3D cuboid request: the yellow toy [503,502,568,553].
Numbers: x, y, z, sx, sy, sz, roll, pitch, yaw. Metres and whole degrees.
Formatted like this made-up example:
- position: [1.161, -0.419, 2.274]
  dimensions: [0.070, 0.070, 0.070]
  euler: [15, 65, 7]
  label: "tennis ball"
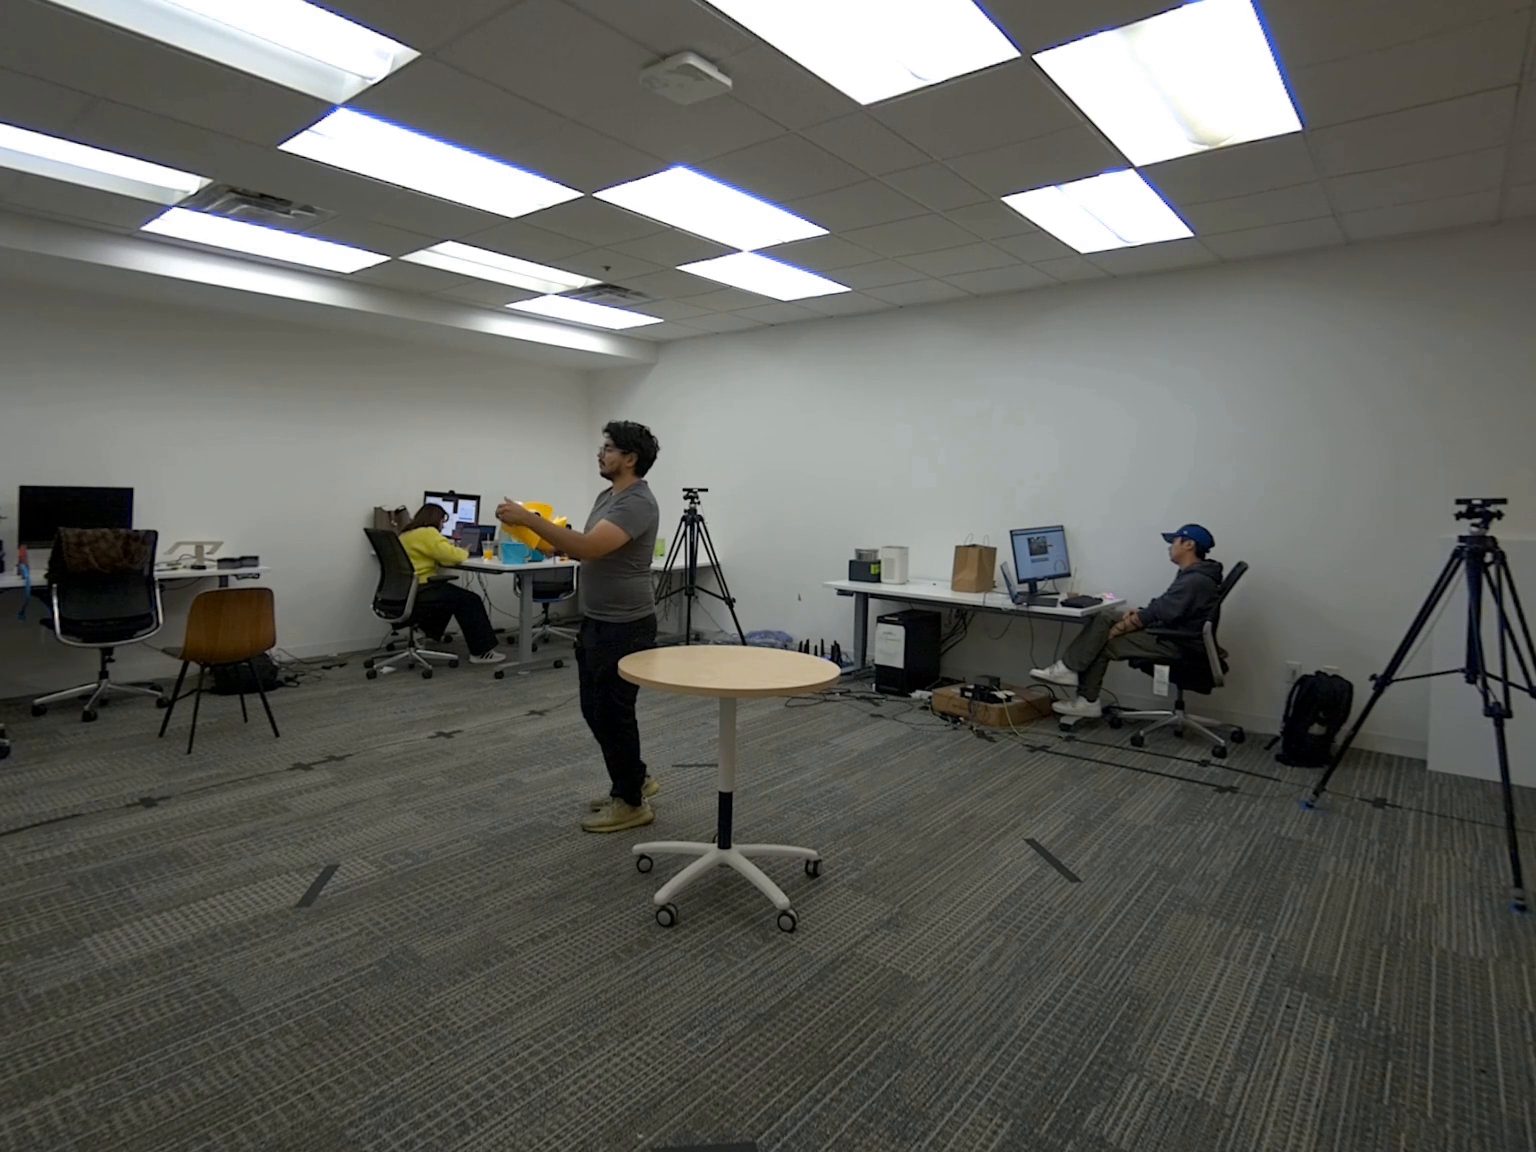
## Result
- position: [-0.944, -0.232, 3.293]
  dimensions: [0.213, 0.193, 0.221]
  euler: [27, -13, 33]
  label: "yellow toy"
